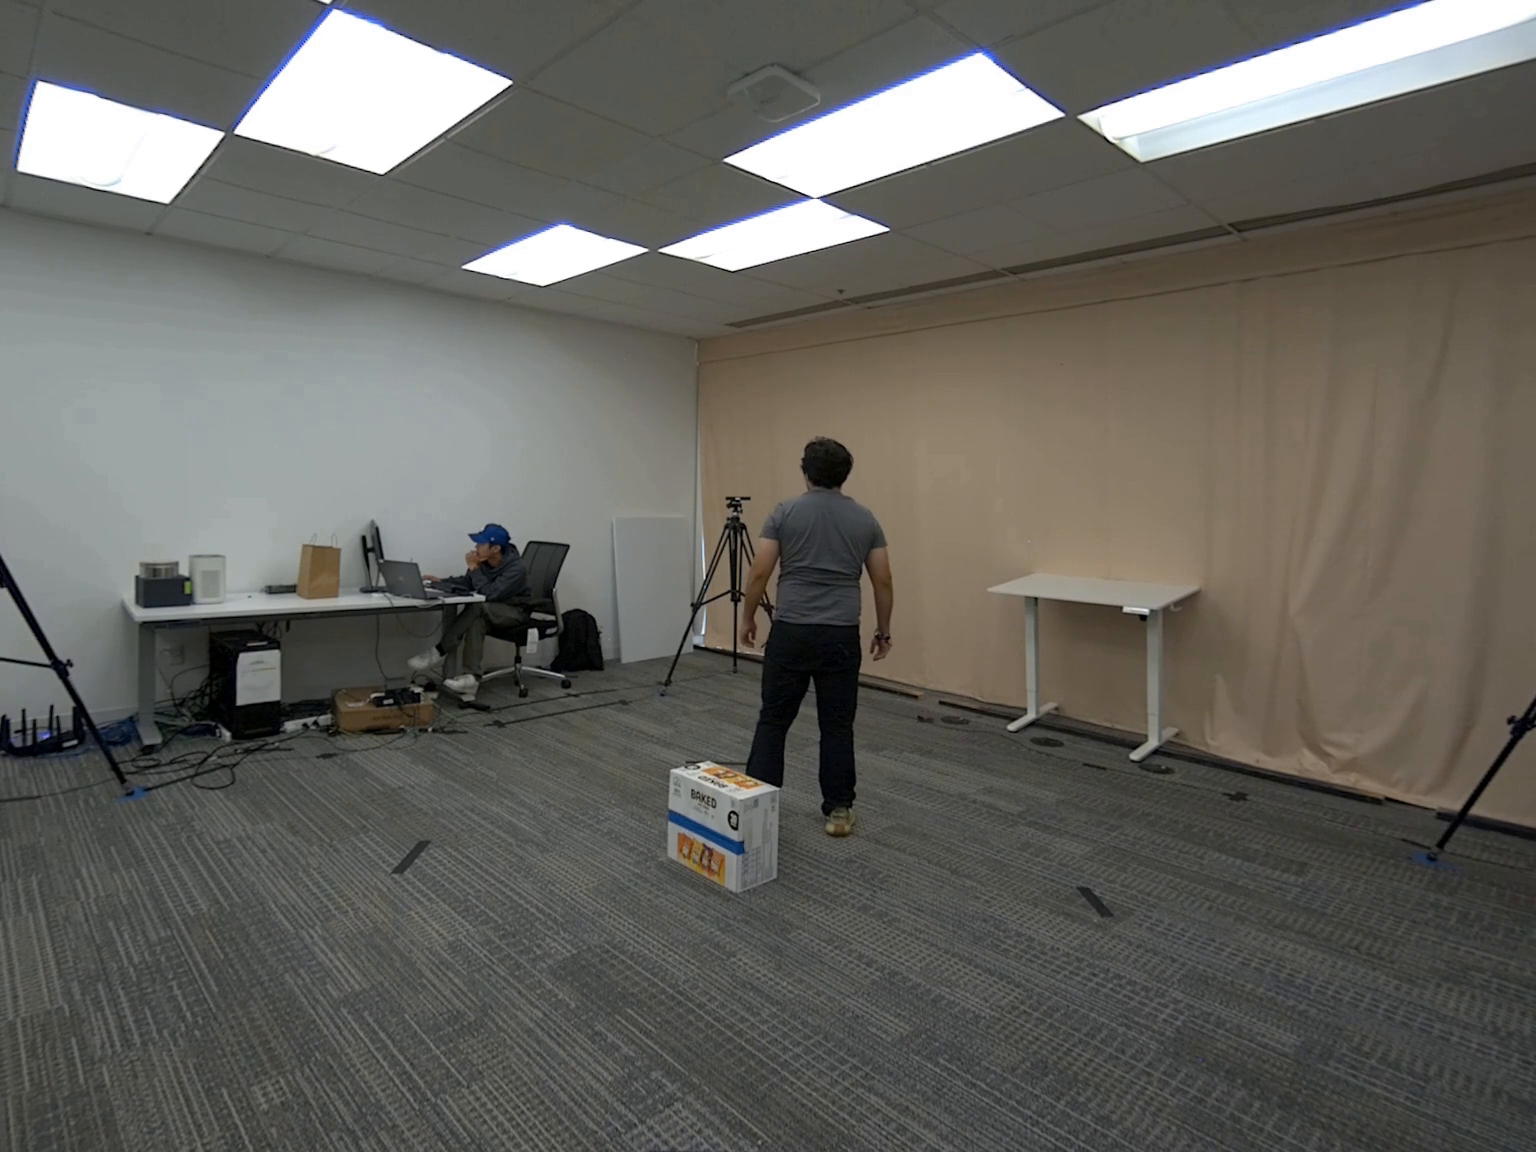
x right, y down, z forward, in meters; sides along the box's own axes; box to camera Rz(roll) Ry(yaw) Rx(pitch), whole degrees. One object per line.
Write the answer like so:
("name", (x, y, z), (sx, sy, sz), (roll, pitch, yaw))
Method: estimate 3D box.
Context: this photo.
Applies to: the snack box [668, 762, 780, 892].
("snack box", (-0.179, 0.931, 3.166), (0.201, 0.339, 0.415), (-2, 5, -43))
